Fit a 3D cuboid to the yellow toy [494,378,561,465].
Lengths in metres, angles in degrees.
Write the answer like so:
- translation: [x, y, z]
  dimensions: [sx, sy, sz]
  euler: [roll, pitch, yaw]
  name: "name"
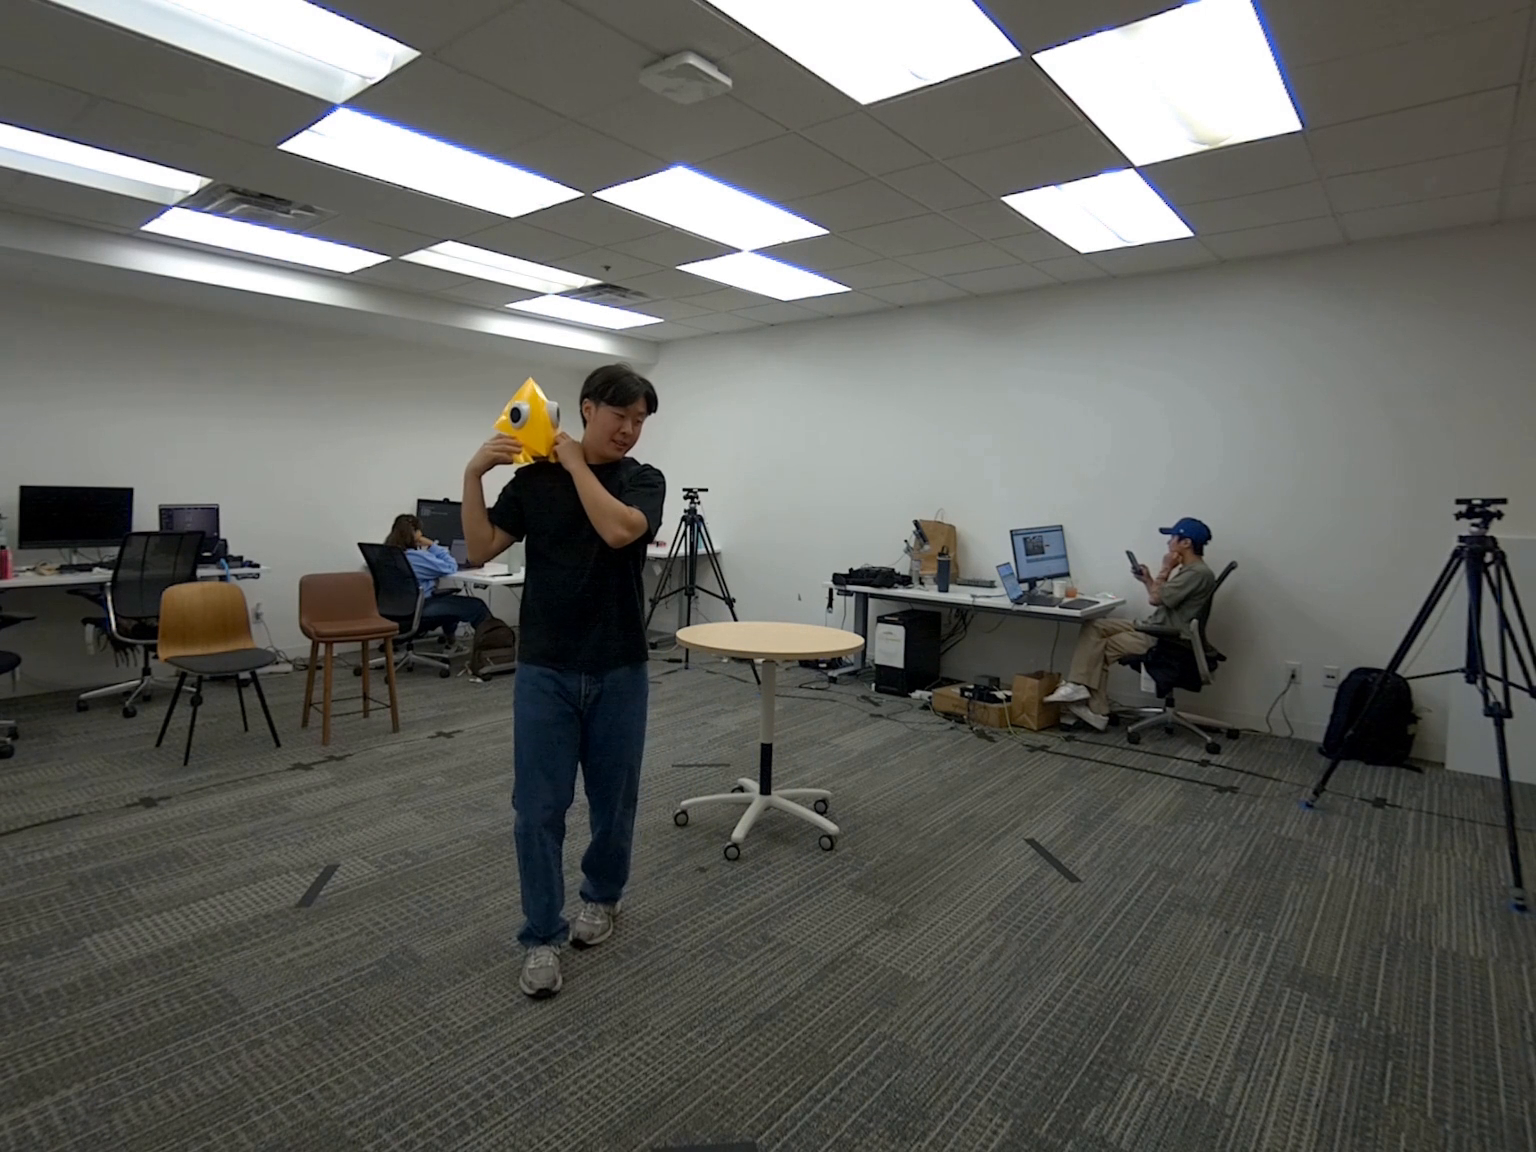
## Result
- translation: [-0.690, -0.463, 2.499]
  dimensions: [0.199, 0.227, 0.201]
  euler: [-4, 20, -30]
  name: "yellow toy"
